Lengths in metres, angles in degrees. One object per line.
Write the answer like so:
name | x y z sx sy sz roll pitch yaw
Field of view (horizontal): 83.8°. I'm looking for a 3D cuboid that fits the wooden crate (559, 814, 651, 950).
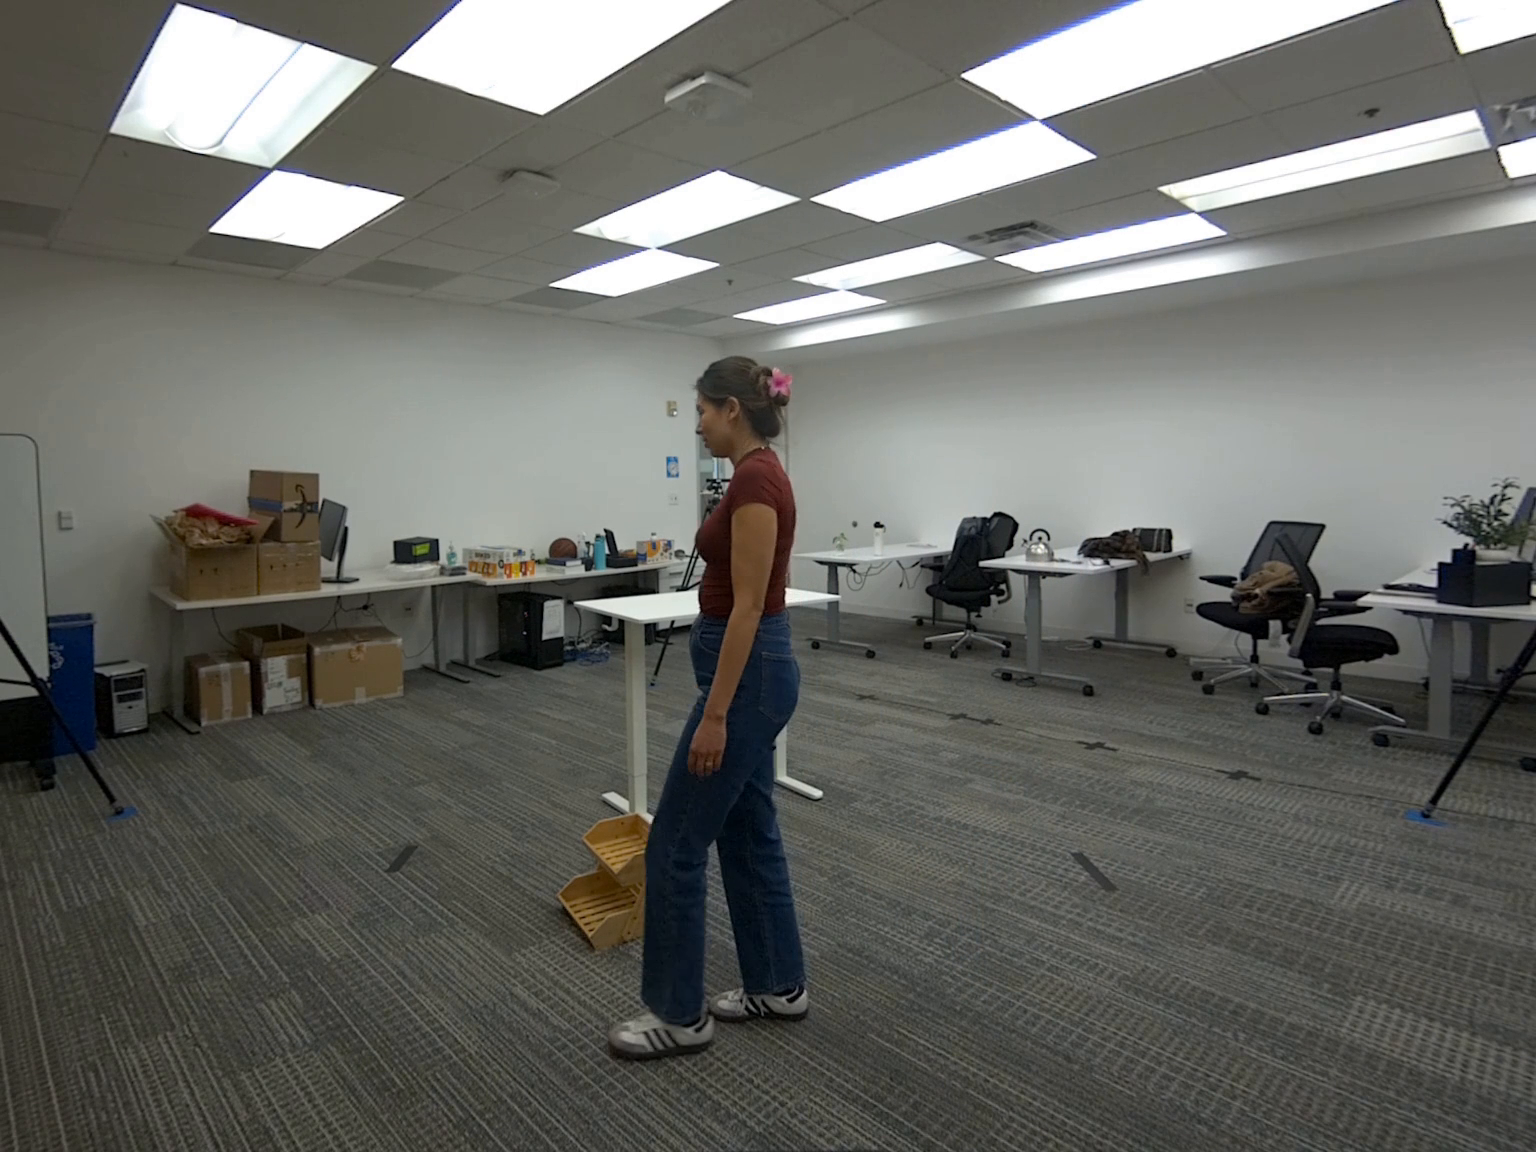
wooden crate | -0.486 0.962 2.733 0.295 0.272 0.334 -4 6 -31
